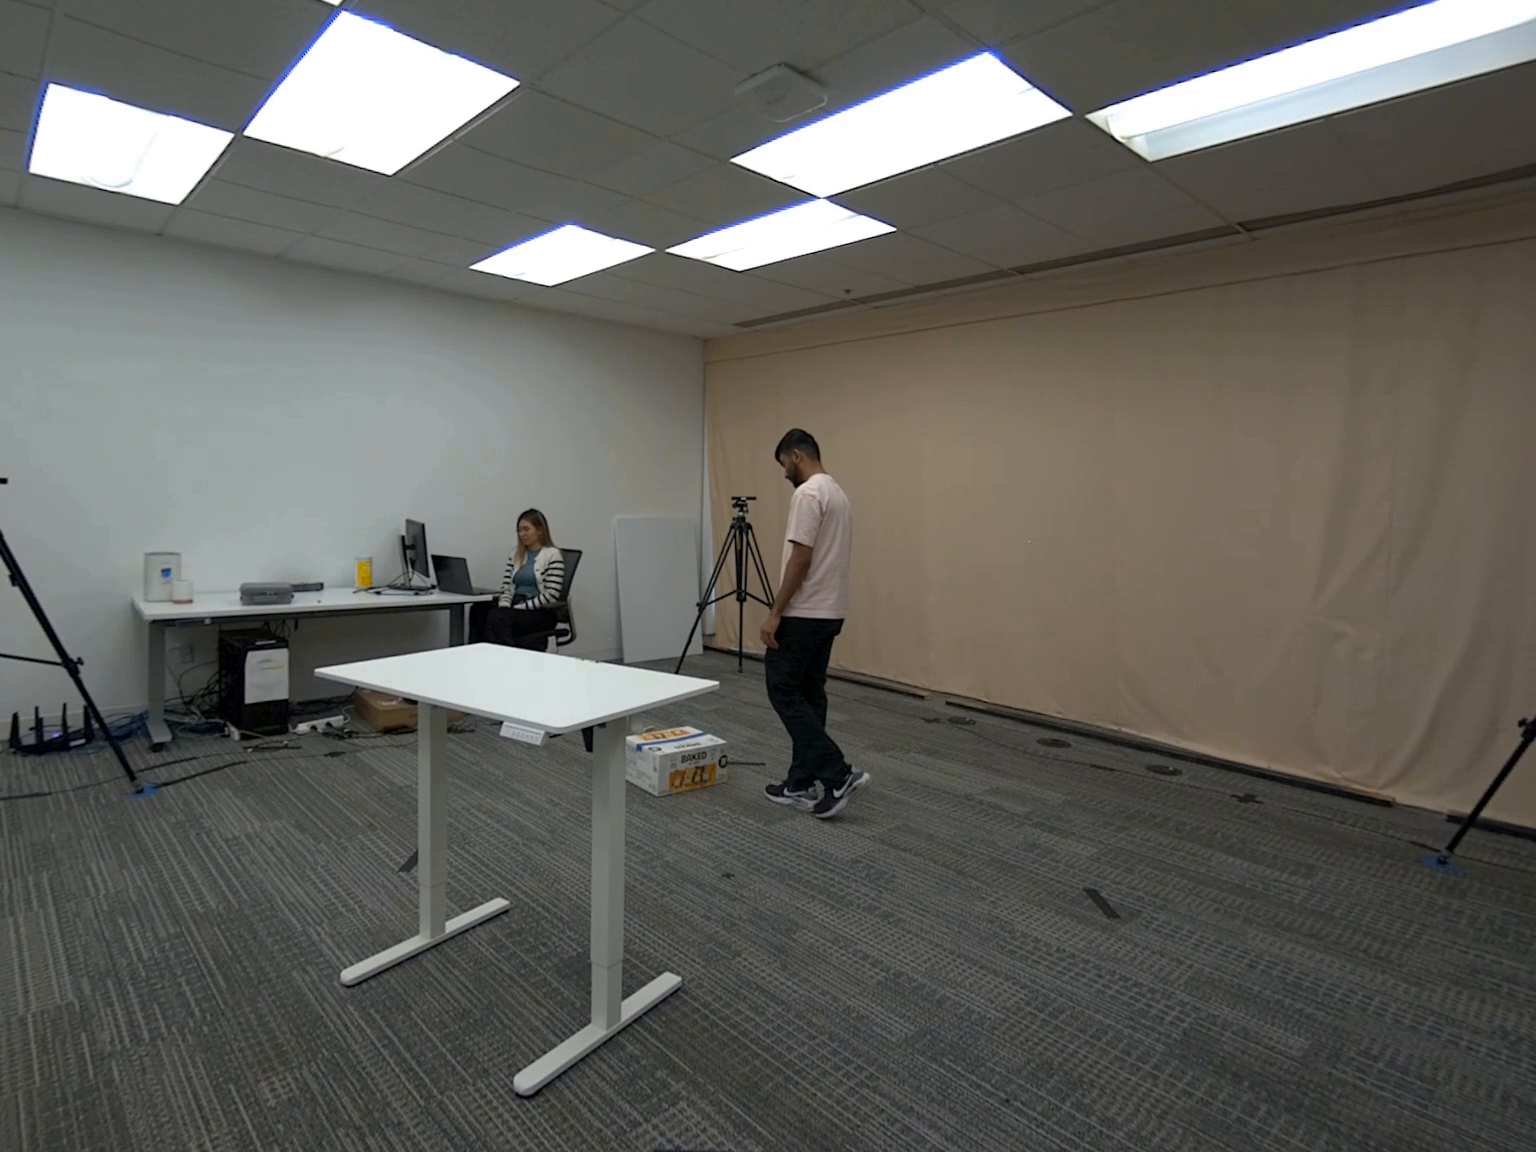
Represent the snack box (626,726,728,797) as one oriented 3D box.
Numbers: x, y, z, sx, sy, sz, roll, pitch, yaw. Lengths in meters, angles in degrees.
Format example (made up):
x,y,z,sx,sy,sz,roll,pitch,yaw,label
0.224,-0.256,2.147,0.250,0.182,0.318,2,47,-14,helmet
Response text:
x,y,z,sx,sy,sz,roll,pitch,yaw,label
-0.475,0.909,4.155,0.396,0.205,0.349,-2,5,-39,snack box
